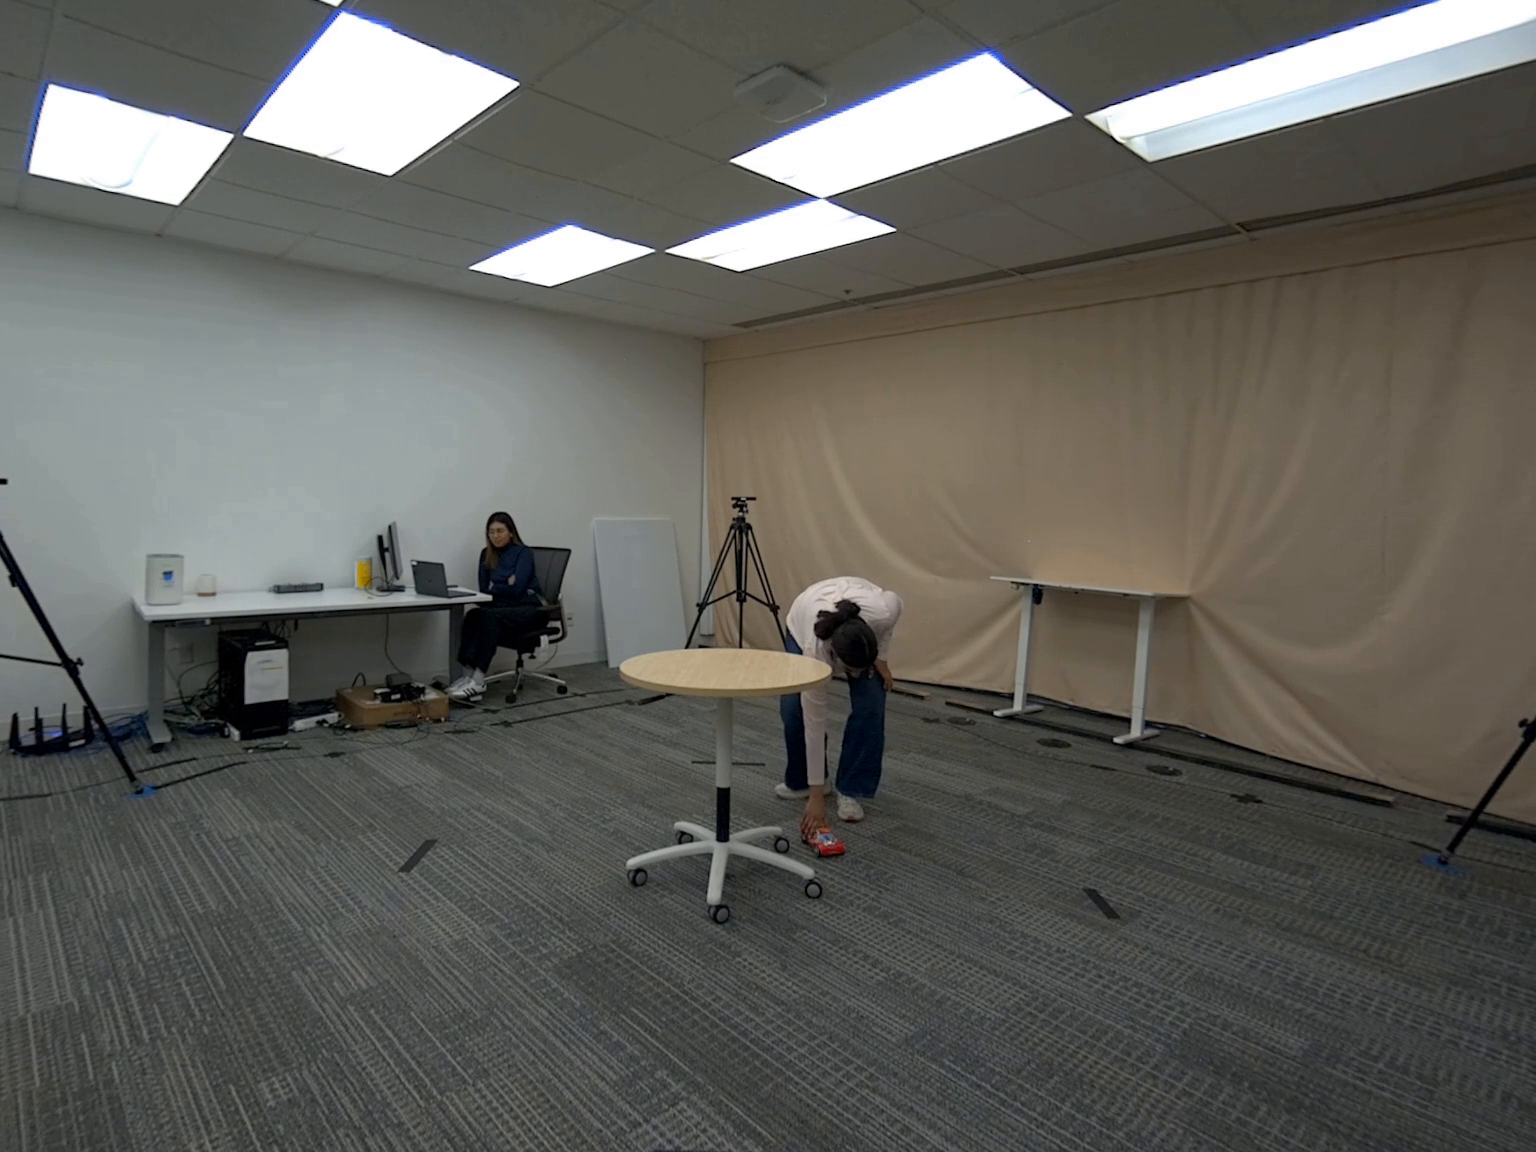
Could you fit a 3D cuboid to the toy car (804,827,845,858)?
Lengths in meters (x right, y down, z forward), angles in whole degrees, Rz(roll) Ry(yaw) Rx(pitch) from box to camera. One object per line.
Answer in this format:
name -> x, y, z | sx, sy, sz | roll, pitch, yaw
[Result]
toy car -> 0.198, 1.058, 3.396 | 0.129, 0.082, 0.260 | 0, 14, -17
